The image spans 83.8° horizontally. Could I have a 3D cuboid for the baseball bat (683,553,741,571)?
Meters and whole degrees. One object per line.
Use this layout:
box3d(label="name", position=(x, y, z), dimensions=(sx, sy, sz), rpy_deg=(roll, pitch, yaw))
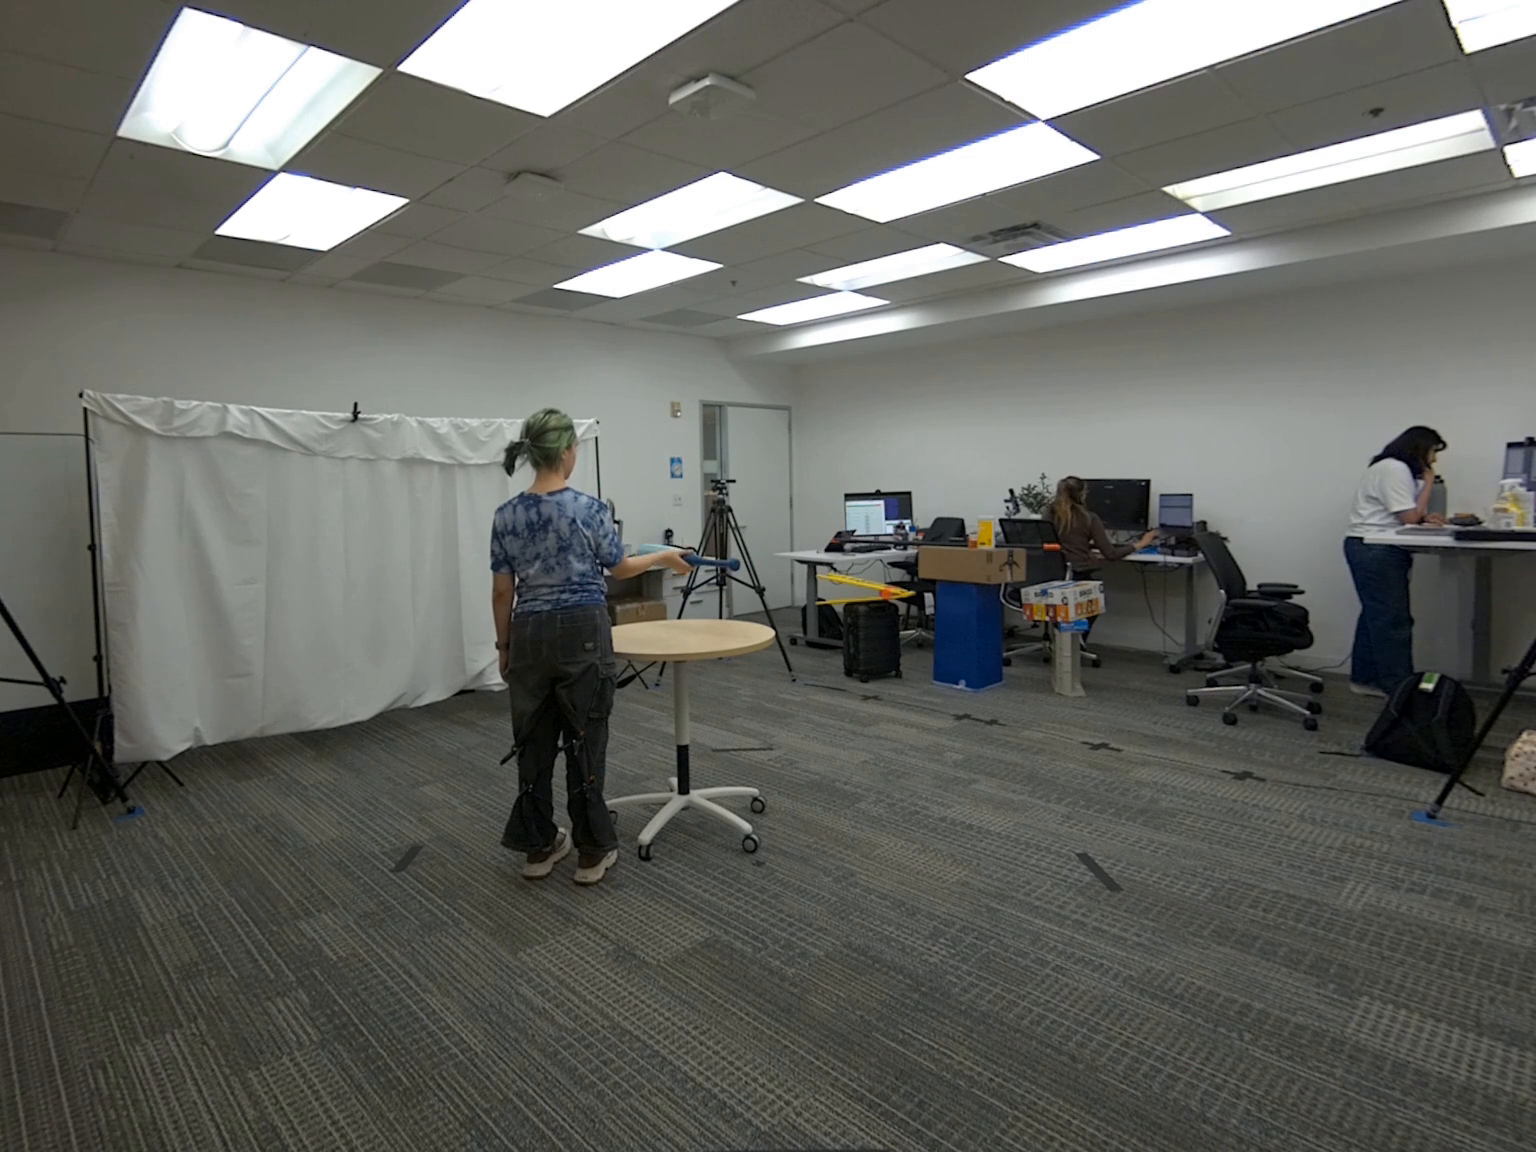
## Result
box3d(label="baseball bat", position=(-0.320, -0.063, 3.351), dimensions=(0.561, 0.088, 0.087), rpy_deg=(9, 10, 43))
